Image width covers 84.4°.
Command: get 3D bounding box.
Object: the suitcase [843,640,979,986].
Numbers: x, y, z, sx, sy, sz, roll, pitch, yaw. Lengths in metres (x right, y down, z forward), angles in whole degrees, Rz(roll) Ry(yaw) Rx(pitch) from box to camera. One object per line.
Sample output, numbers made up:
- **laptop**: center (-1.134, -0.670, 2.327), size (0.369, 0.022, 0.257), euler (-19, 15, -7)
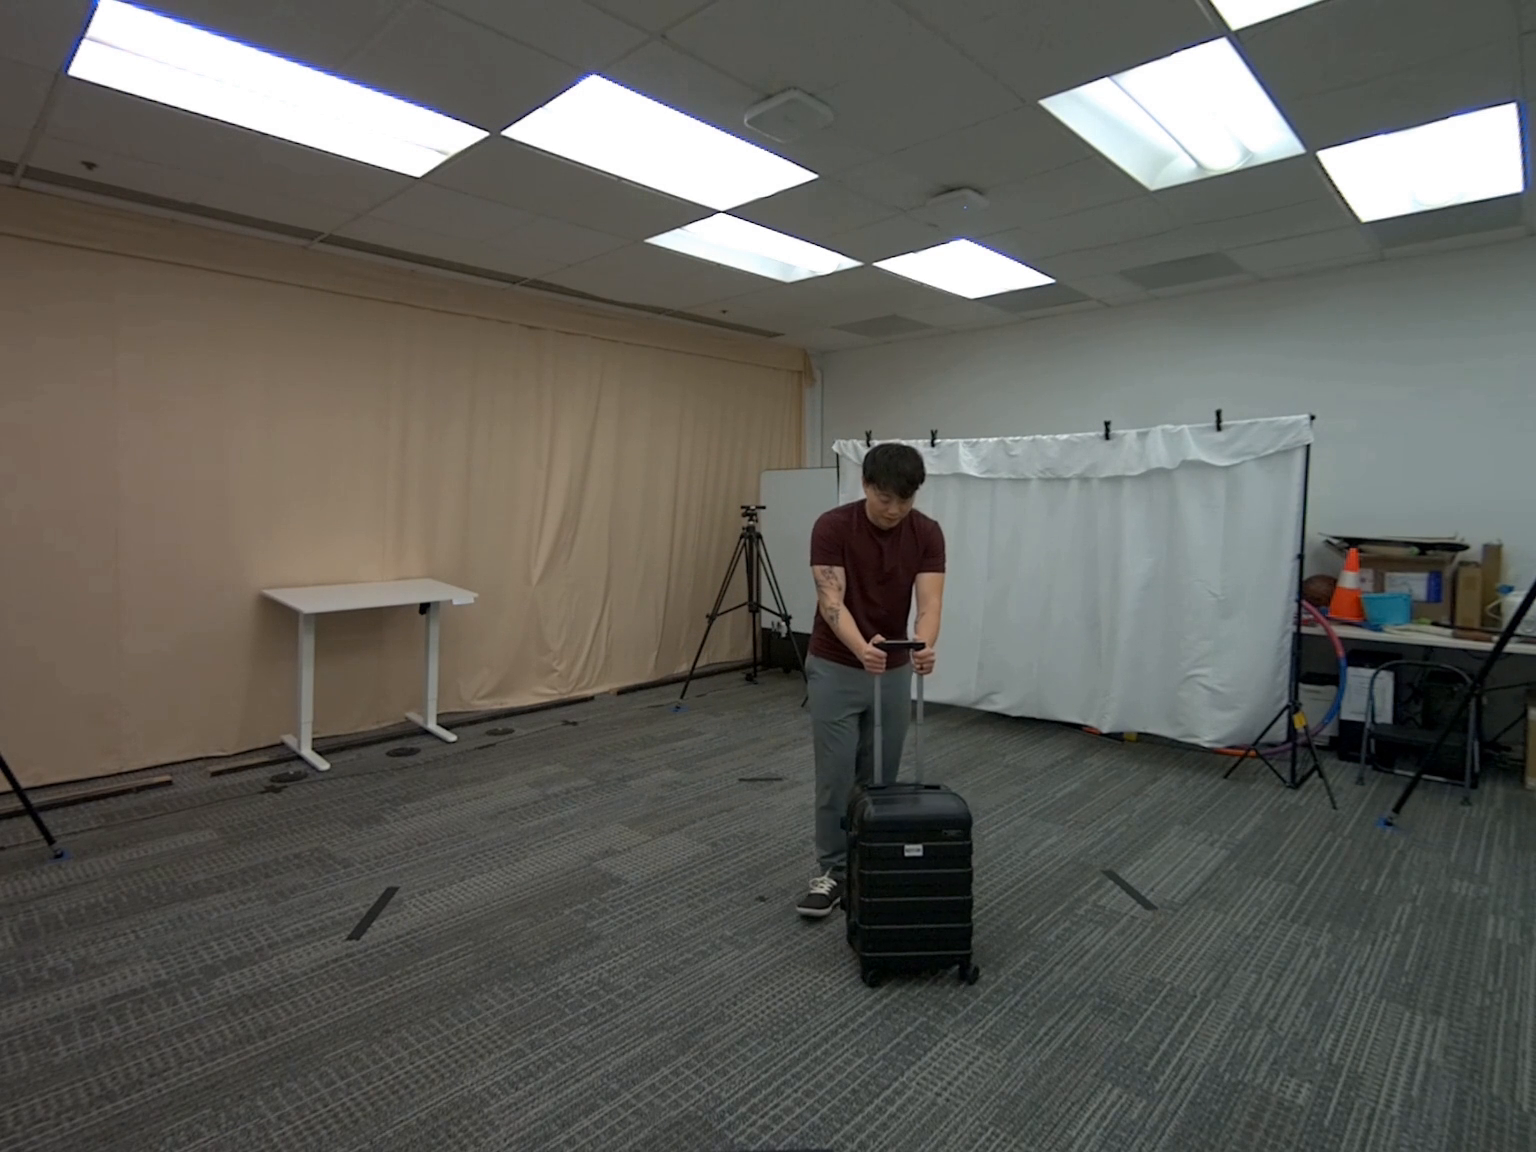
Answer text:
- **suitcase**: center (0.421, 0.708, 2.513), size (0.383, 0.974, 0.259), euler (-2, 6, -3)
